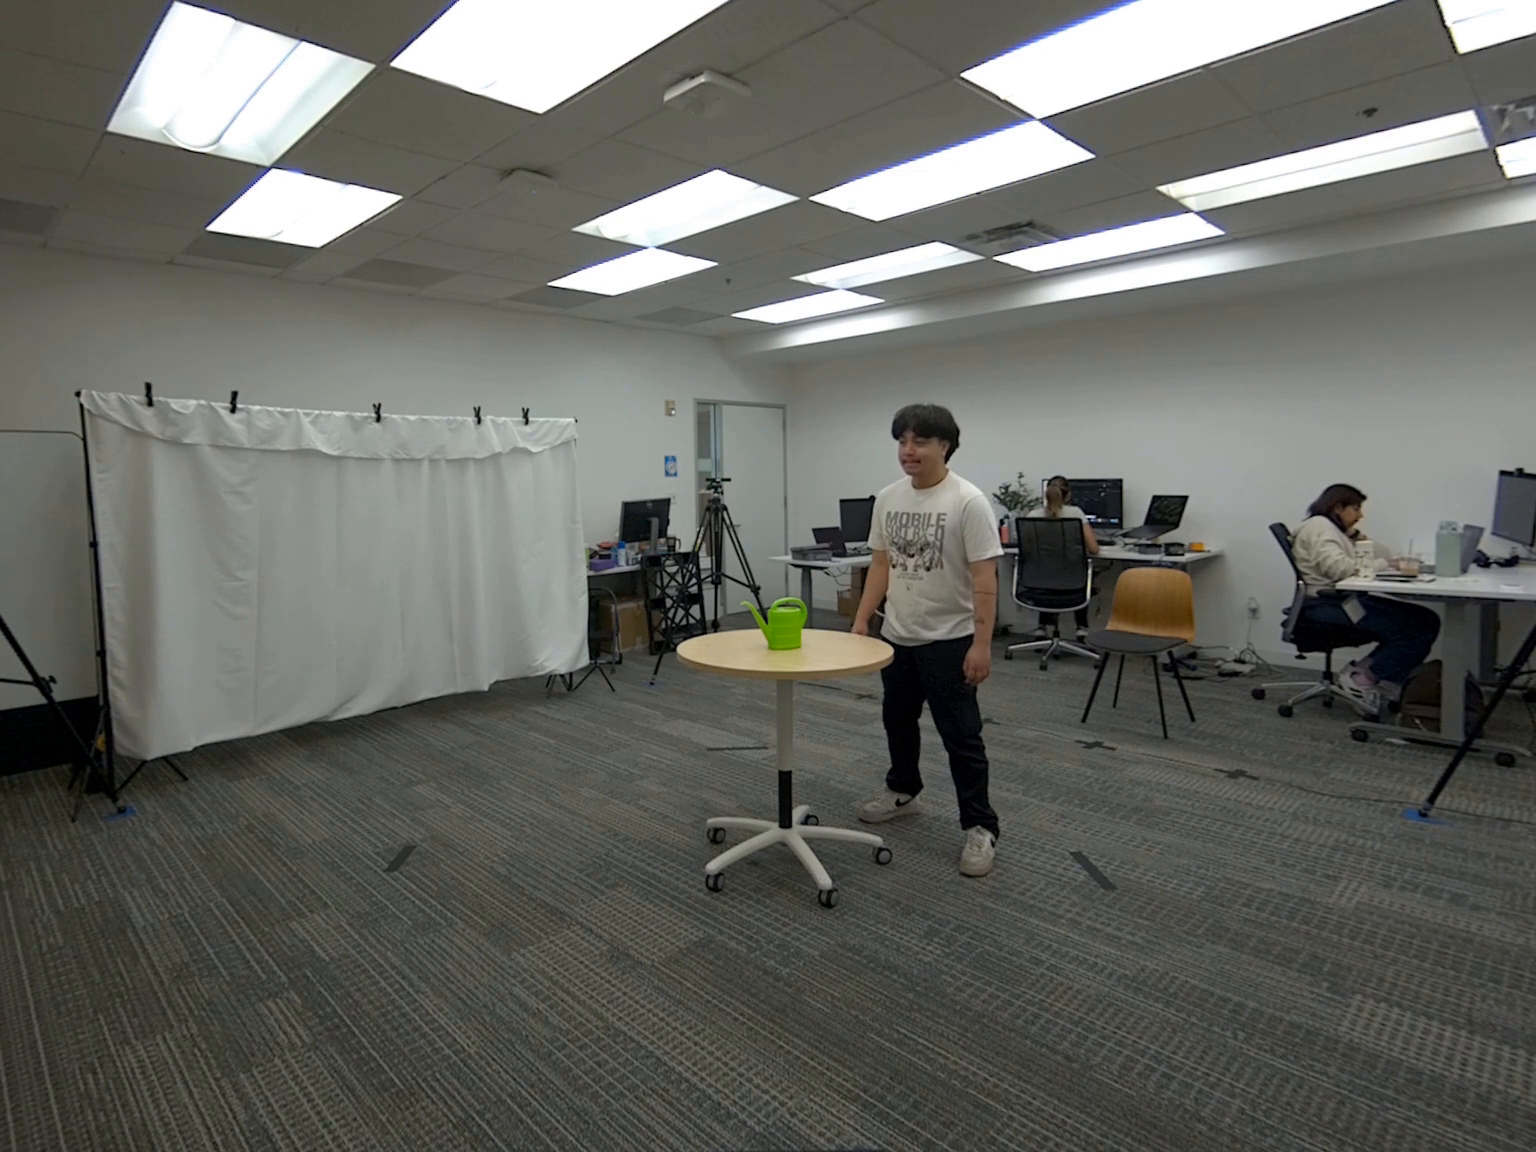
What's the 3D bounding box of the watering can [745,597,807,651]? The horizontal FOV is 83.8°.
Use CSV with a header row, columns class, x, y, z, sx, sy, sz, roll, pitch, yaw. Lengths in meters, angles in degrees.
class,x,y,z,sx,sy,sz,roll,pitch,yaw
watering can,0.022,0.168,3.029,0.273,0.177,0.100,-1,1,-20
